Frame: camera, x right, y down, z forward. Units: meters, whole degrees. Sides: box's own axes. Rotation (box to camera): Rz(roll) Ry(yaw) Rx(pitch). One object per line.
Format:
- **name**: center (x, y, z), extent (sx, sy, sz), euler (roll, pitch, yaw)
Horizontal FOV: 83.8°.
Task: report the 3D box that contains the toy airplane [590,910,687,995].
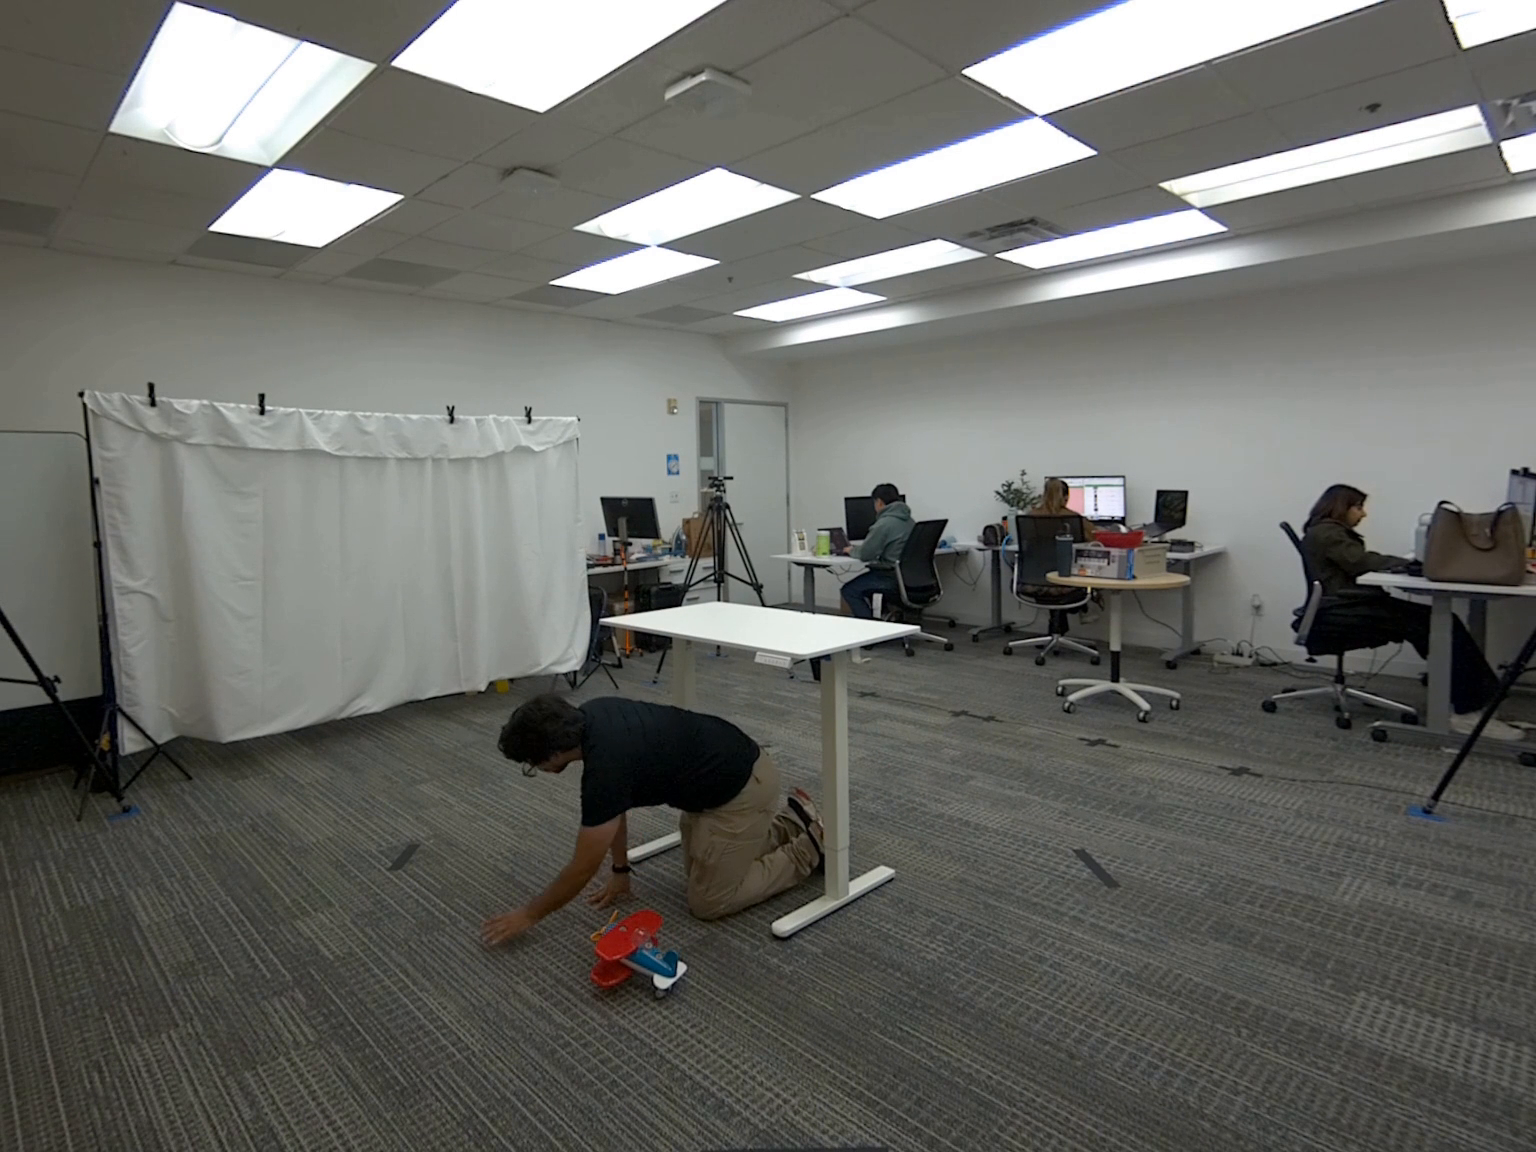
- **toy airplane**: center (-0.348, 1.057, 2.383), extent (0.260, 0.156, 0.252), euler (-3, 6, 2)
